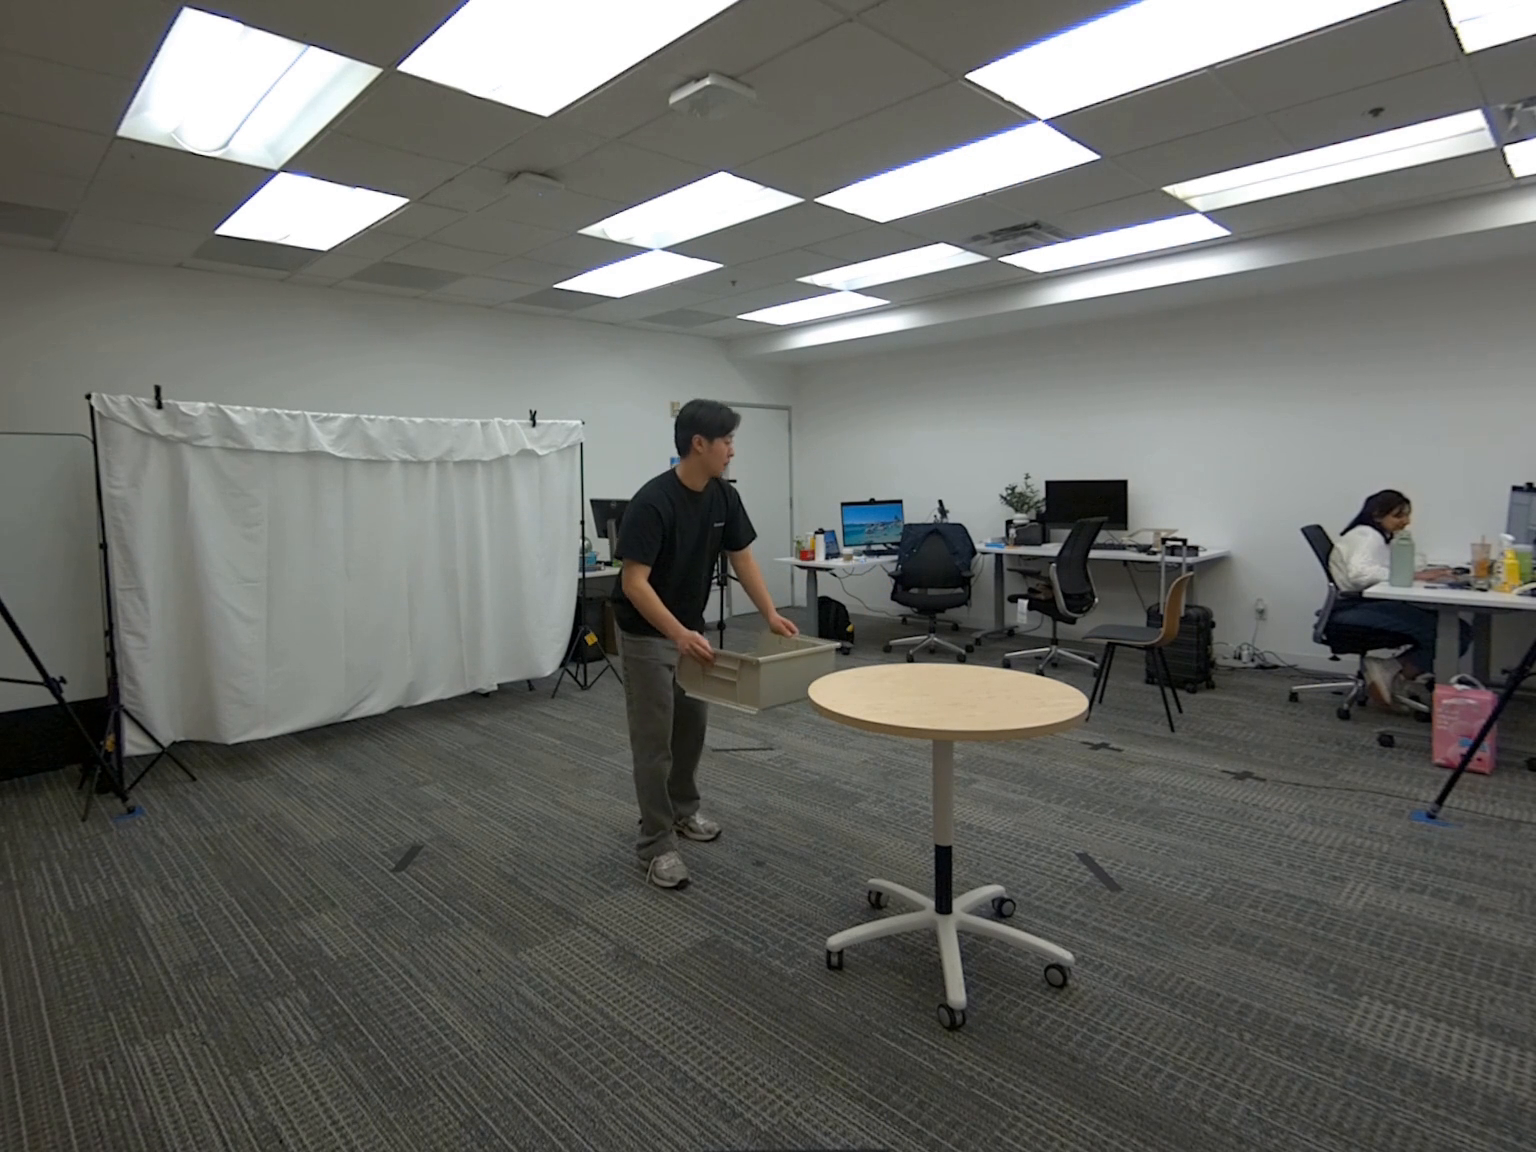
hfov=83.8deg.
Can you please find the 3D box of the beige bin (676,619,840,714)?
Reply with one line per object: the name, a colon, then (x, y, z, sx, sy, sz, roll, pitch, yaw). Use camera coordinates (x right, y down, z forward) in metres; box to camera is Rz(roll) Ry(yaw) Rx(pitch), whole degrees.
beige bin: (-0.025, 0.318, 2.884, 0.390, 0.188, 0.411, 9, 9, 42)
